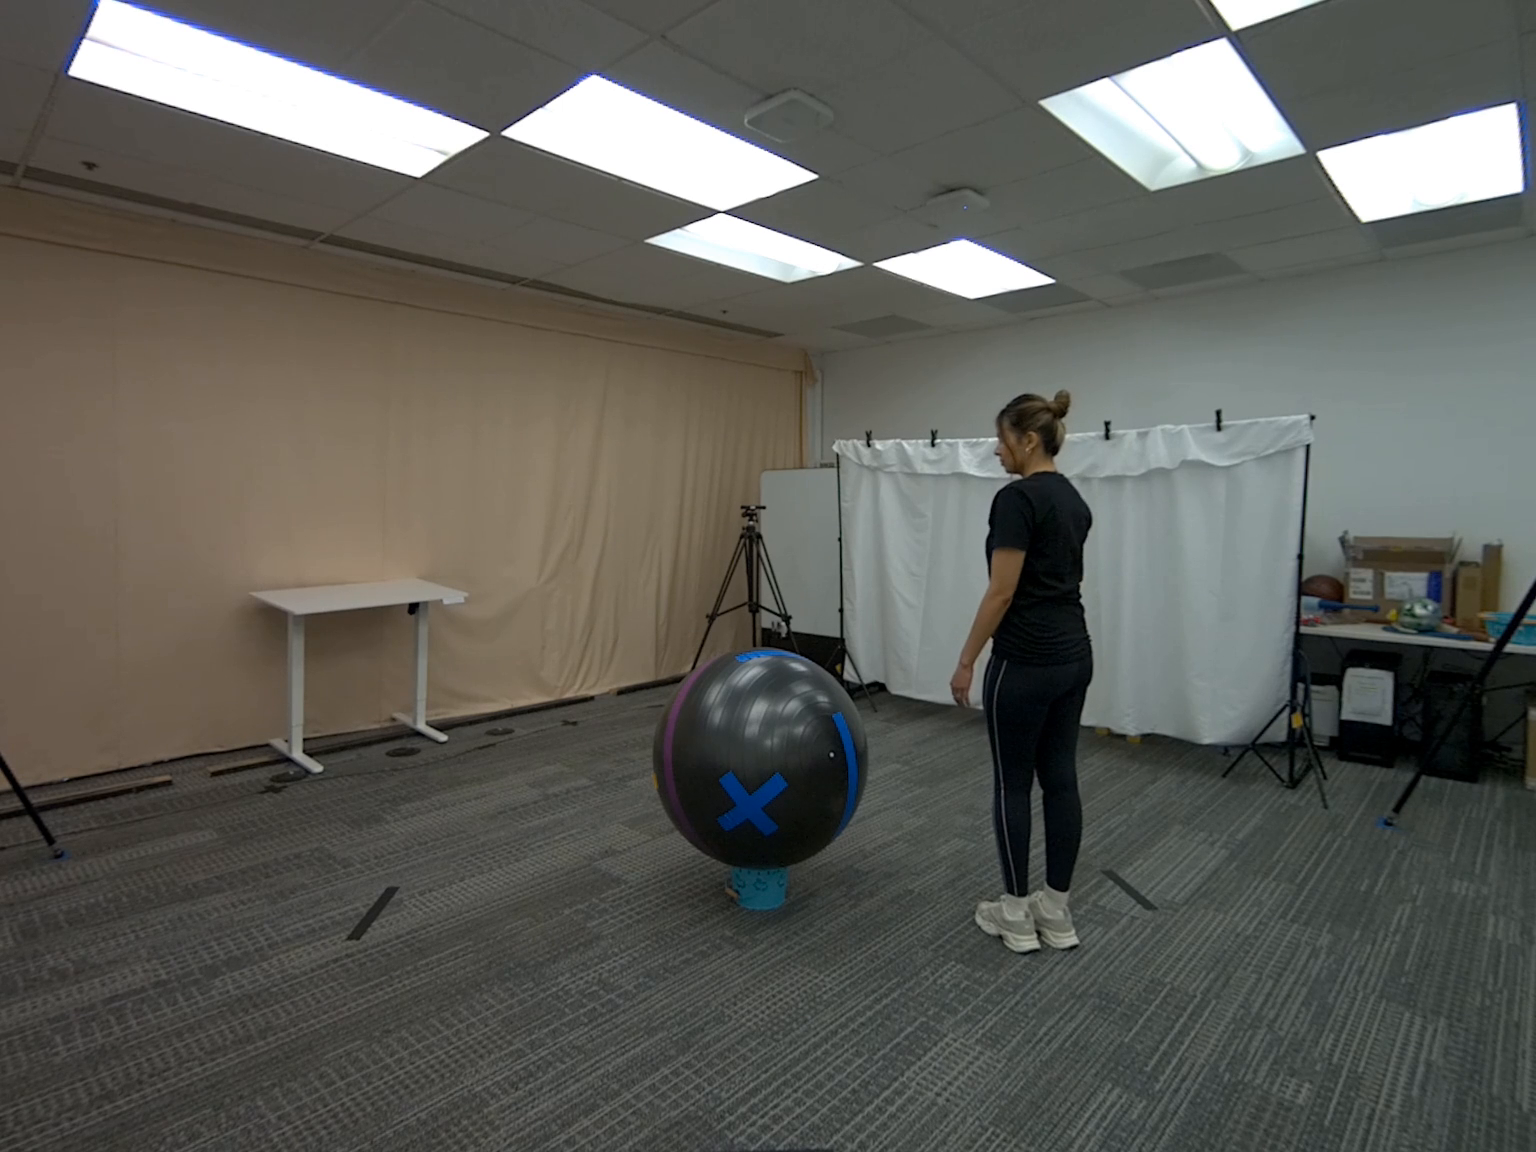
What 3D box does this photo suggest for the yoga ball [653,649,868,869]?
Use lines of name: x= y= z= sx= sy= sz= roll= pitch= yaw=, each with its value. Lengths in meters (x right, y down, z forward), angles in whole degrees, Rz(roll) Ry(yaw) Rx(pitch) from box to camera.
yoga ball: x=-0.025 y=0.634 z=2.970 sx=0.757 sy=0.756 sz=0.760 roll=0 pitch=4 yaw=-2
